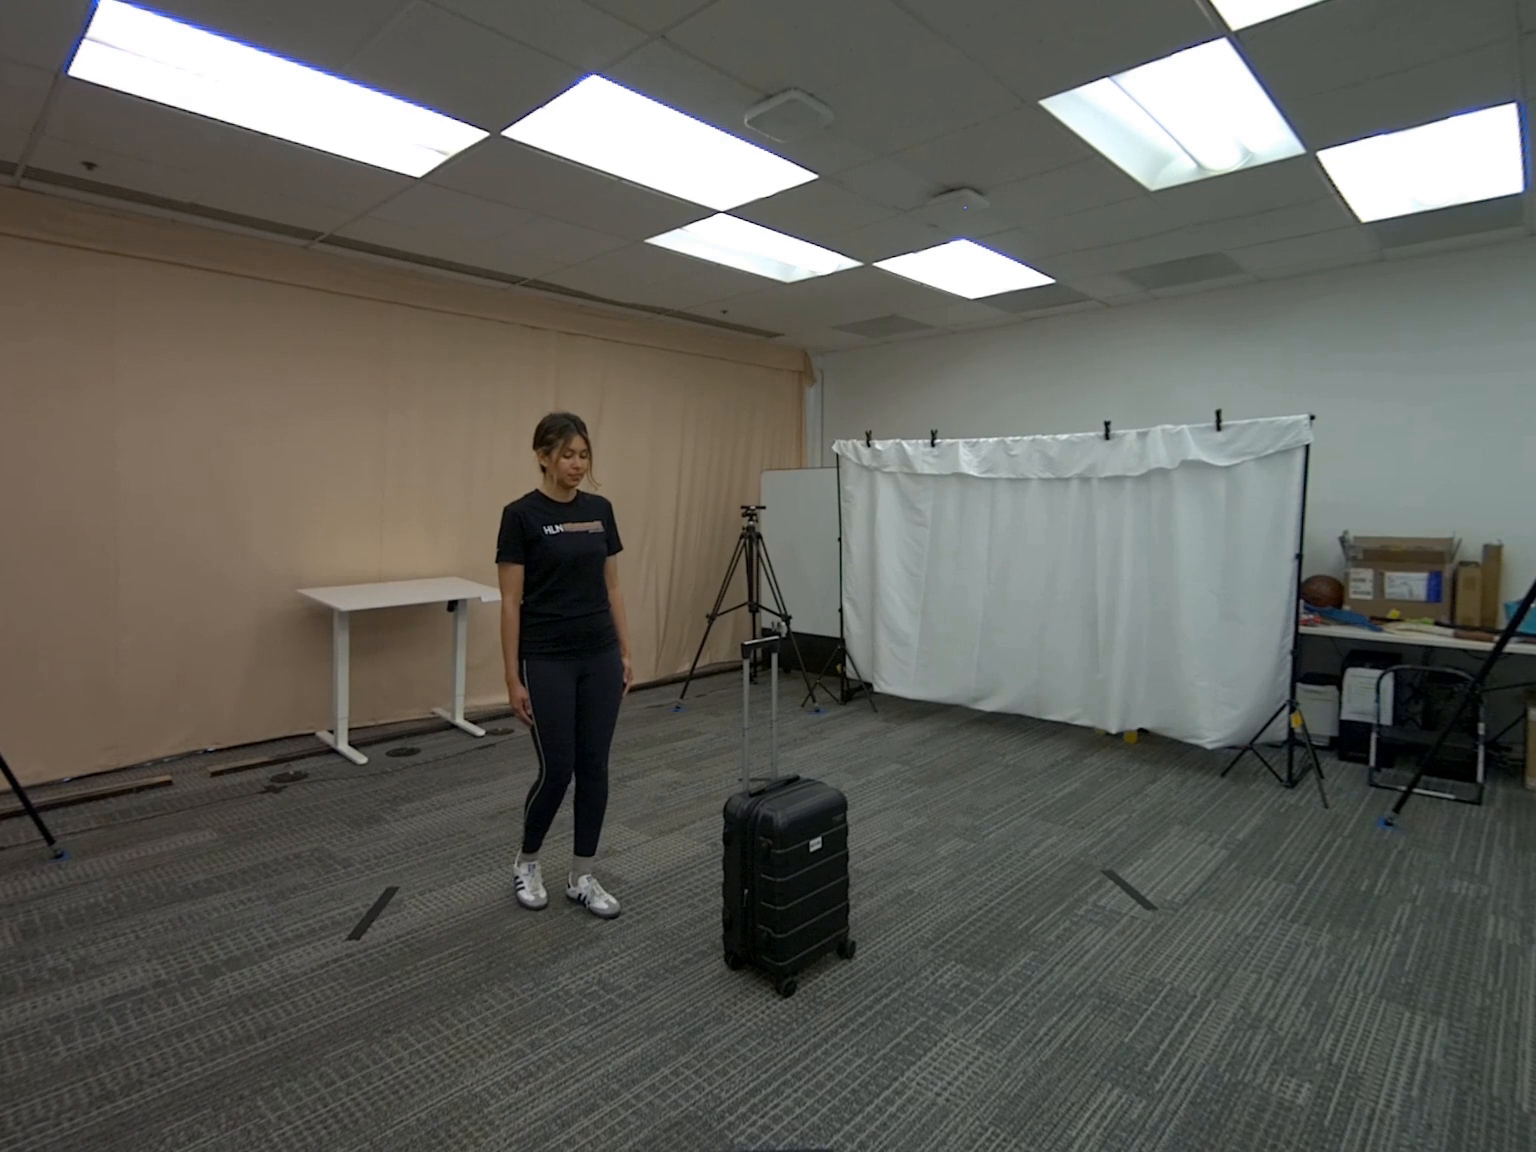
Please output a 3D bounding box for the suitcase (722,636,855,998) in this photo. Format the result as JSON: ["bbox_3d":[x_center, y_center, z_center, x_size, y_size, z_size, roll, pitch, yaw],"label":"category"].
[{"bbox_3d":[0.065,0.706,2.525,0.372,0.975,0.266,-5,8,-45],"label":"suitcase"}]
